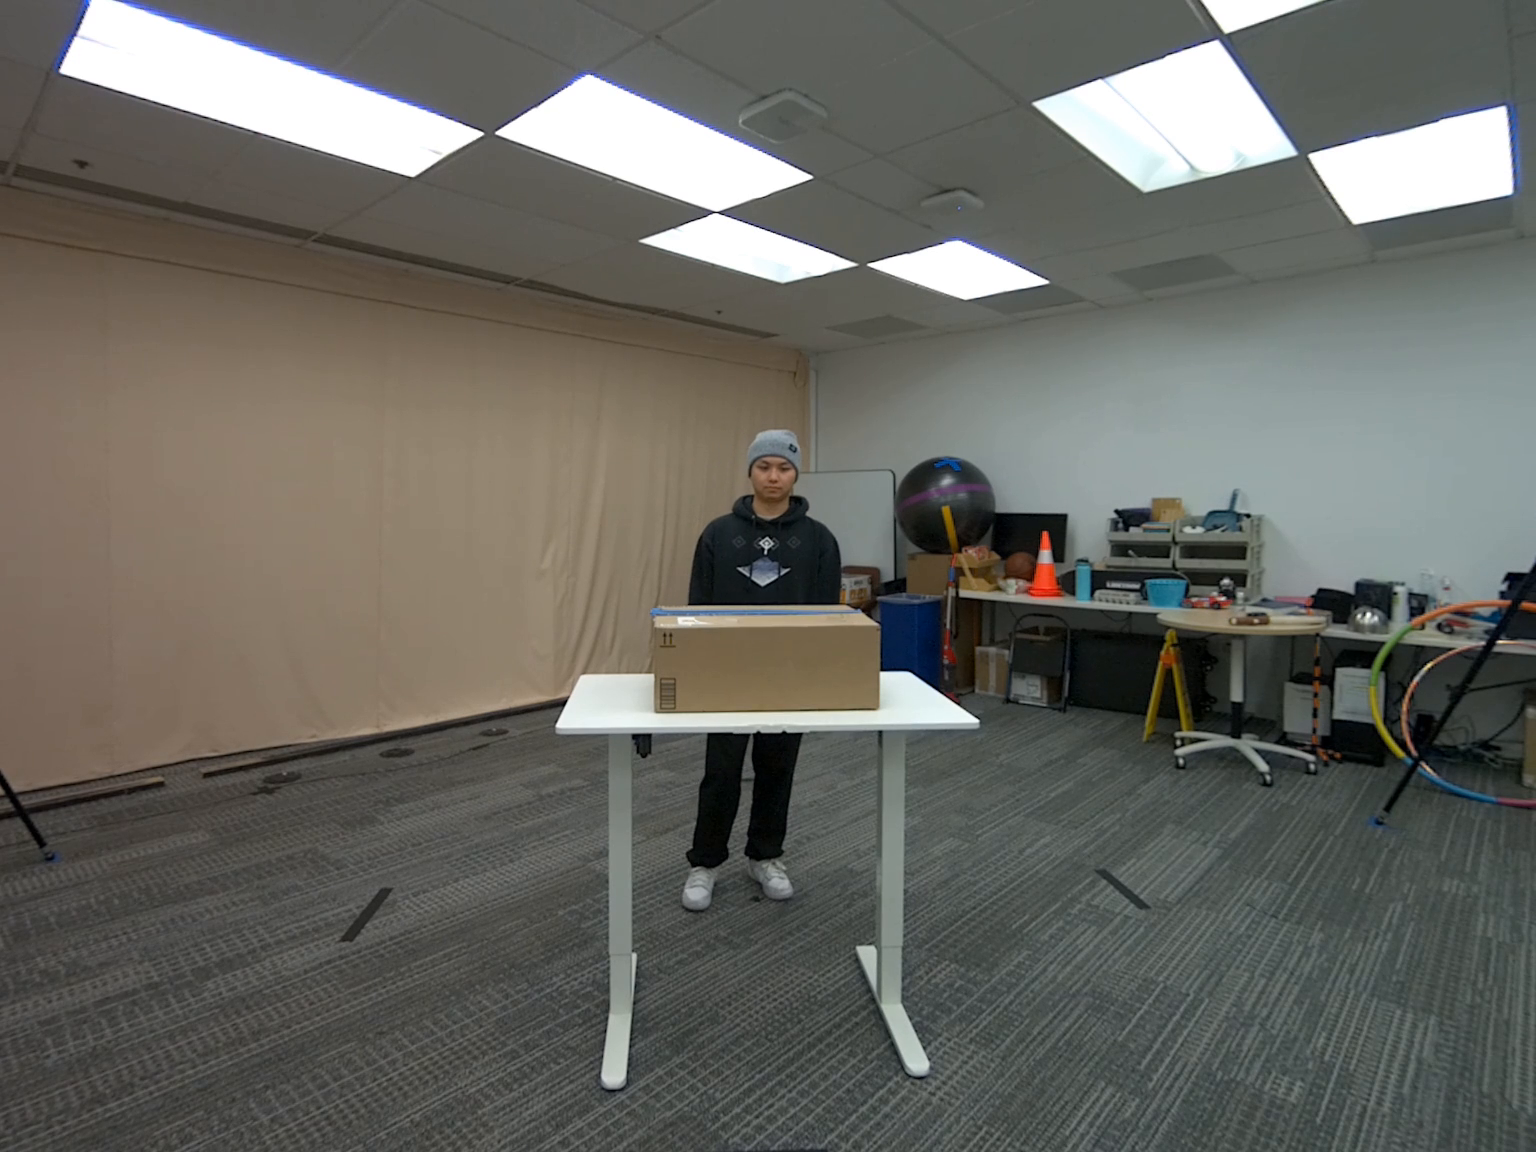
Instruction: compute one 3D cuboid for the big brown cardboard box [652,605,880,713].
[{"bbox_3d":[-0.029,0.211,2.292,0.586,0.232,0.421,1,4,-5],"label":"big brown cardboard box"}]
